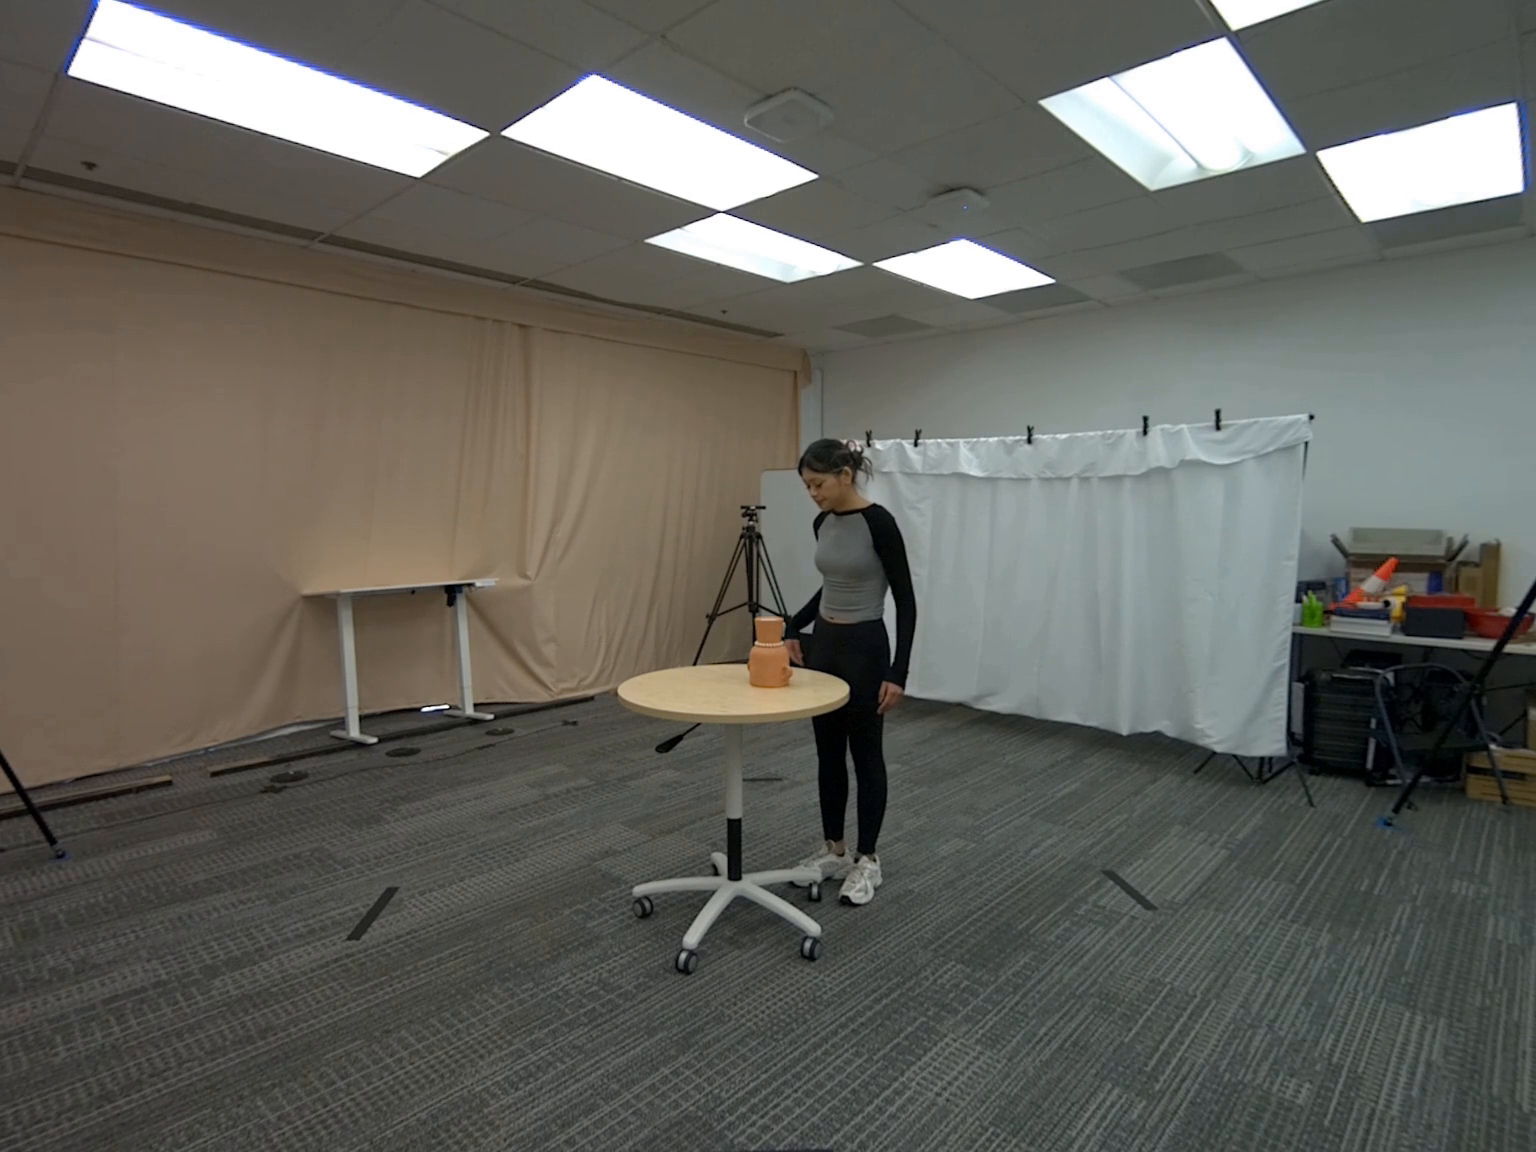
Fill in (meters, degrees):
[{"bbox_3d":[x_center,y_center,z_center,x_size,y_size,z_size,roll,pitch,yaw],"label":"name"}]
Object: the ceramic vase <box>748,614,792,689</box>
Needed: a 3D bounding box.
[{"bbox_3d":[0.010,0.252,2.821,0.159,0.219,0.134,-1,3,3],"label":"ceramic vase"}]
